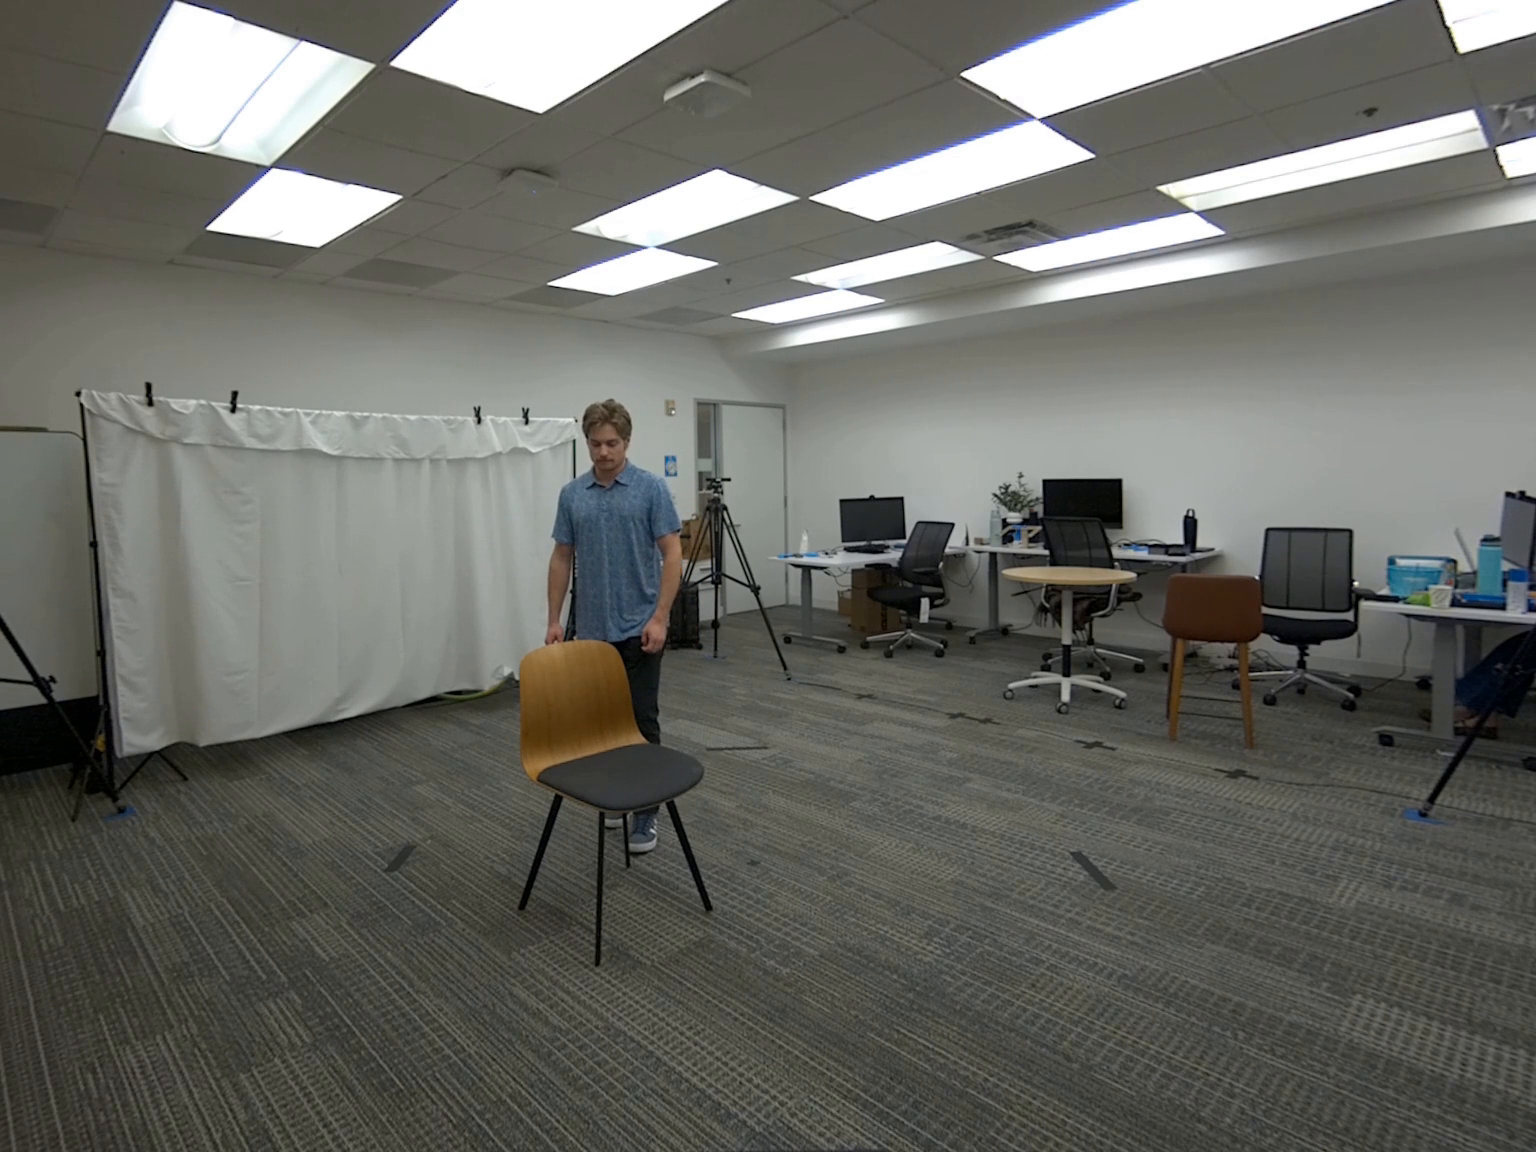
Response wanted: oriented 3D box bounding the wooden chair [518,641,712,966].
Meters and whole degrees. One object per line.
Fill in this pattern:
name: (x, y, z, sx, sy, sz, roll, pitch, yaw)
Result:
wooden chair: (-0.497, 0.667, 2.739, 0.465, 0.876, 0.538, -5, 2, -44)
